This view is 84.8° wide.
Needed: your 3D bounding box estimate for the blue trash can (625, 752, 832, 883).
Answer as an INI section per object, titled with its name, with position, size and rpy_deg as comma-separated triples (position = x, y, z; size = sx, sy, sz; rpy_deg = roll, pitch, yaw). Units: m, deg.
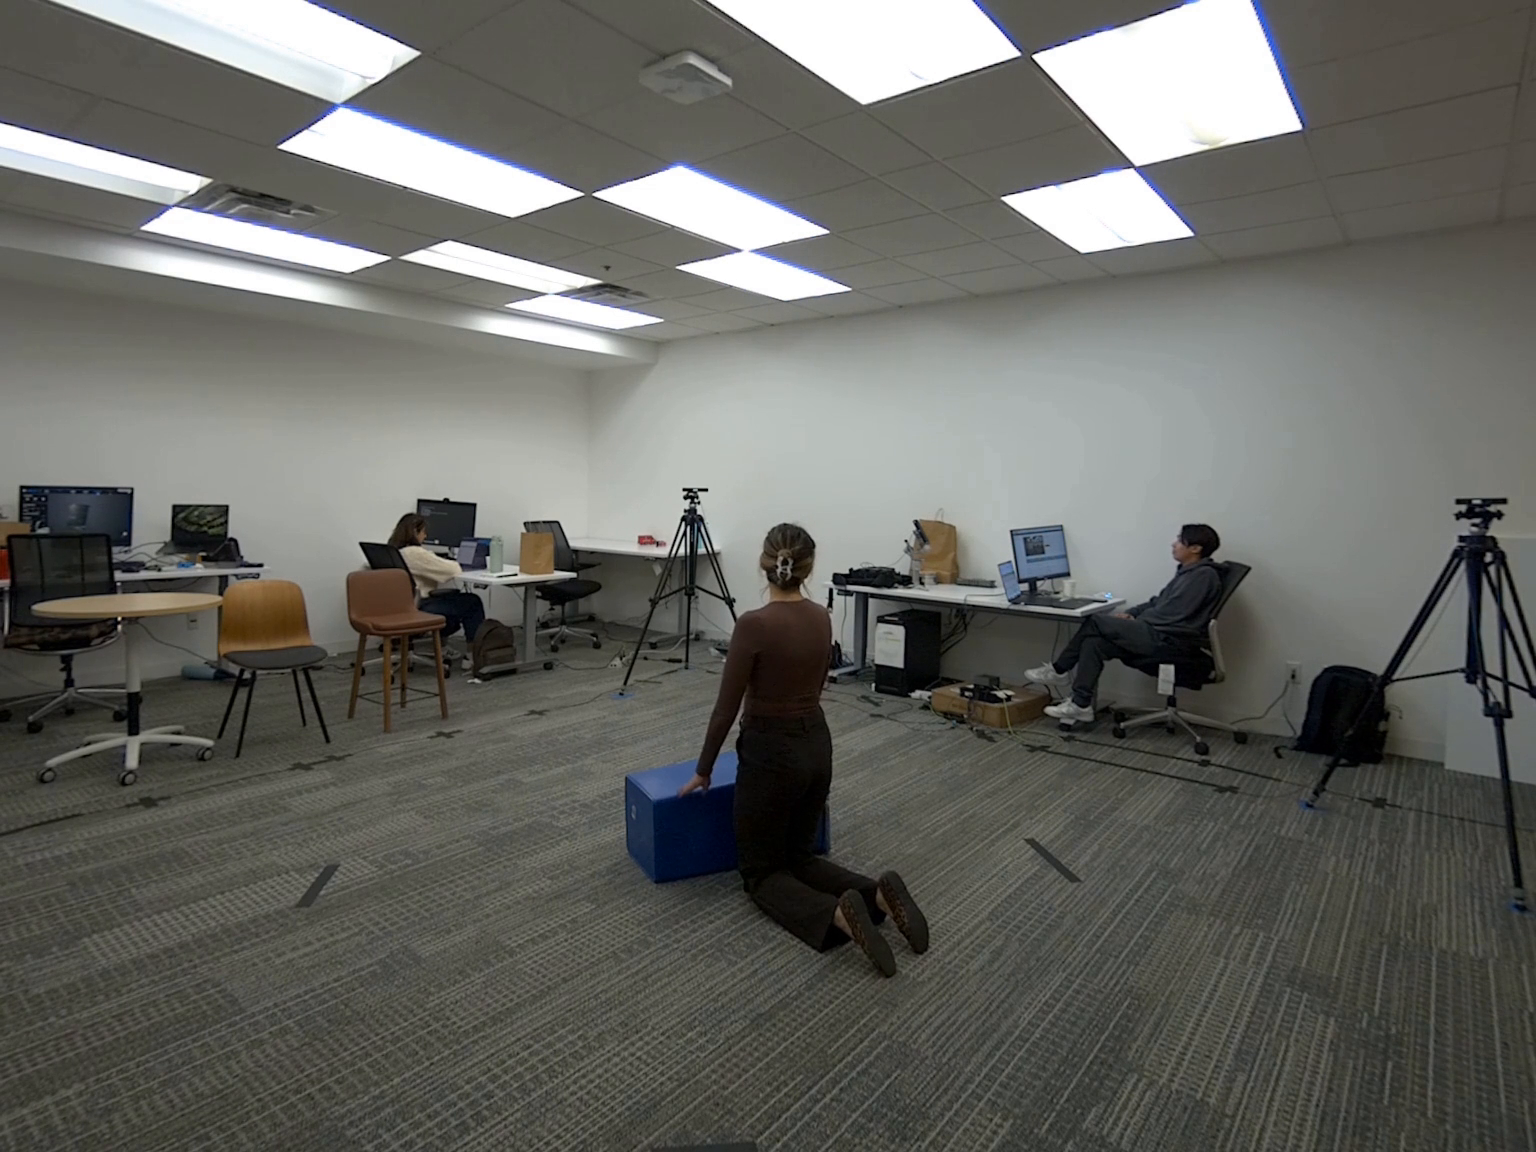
[blue trash can]
position = -0.170, 0.880, 3.256
size = 0.697, 0.376, 0.385
rpy_deg = -3, 7, -26
